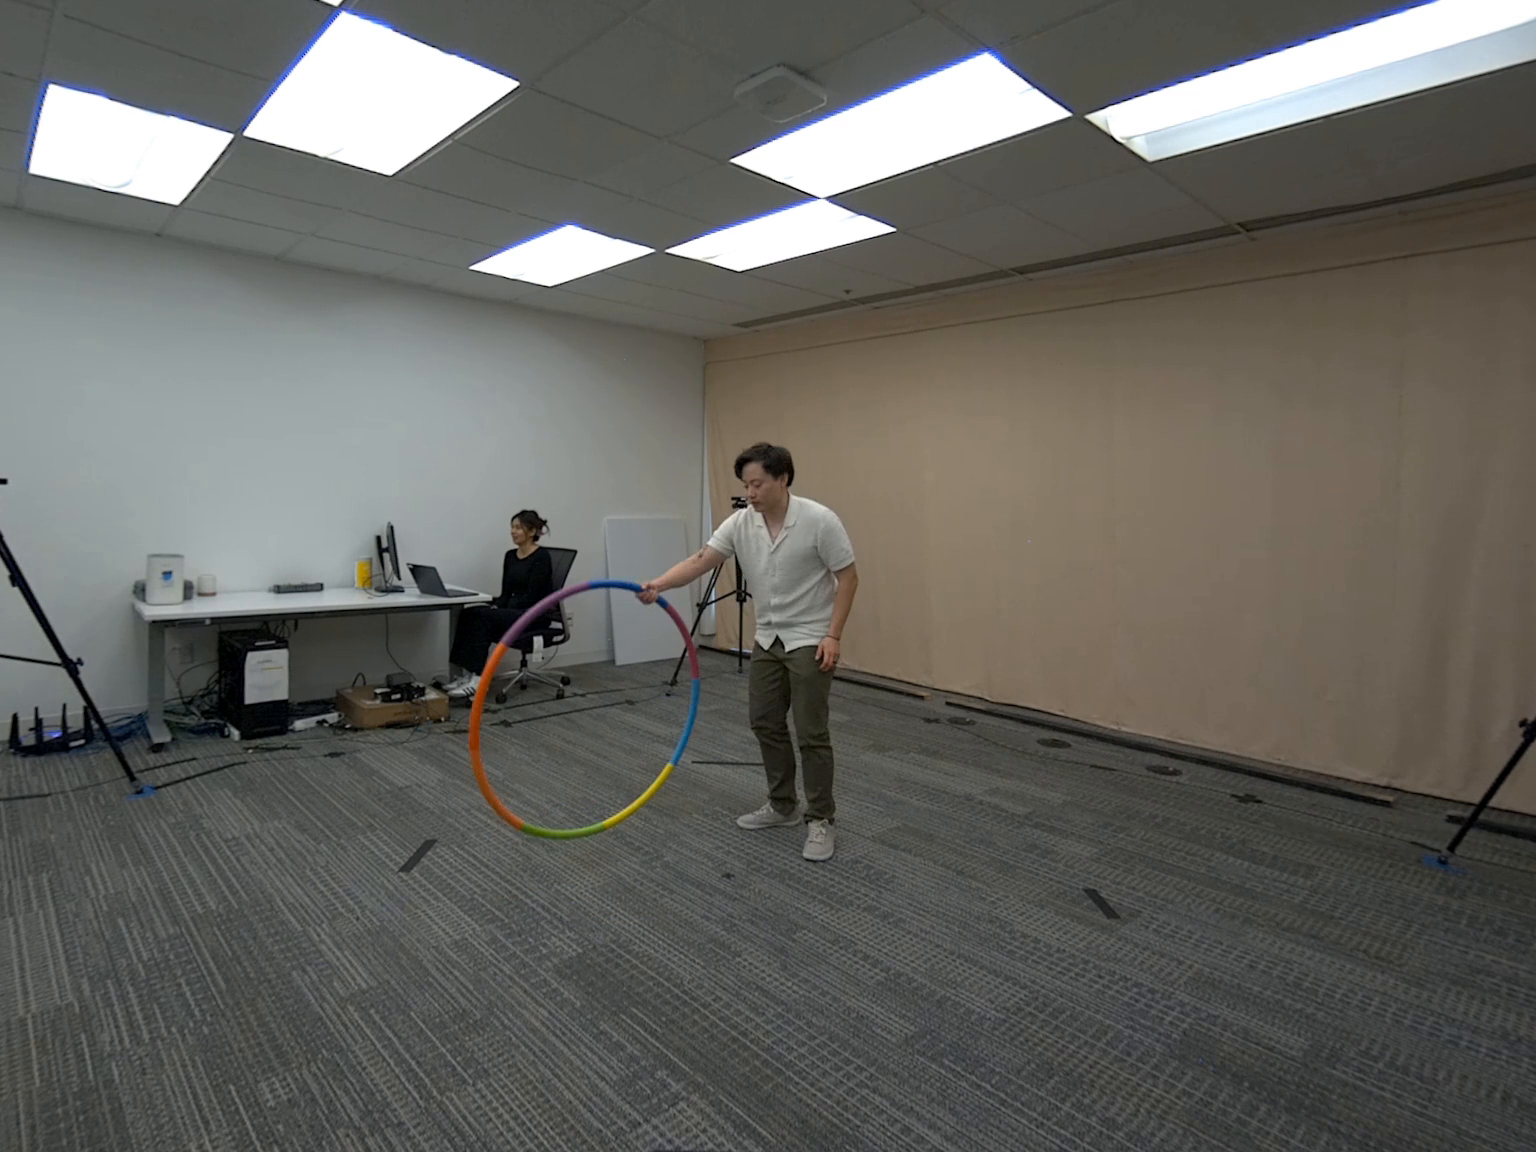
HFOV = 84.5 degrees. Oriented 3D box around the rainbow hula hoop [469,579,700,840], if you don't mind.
[{"bbox_3d":[-0.647,0.501,3.155,0.956,0.973,0.036,-2,10,-42],"label":"rainbow hula hoop"}]
